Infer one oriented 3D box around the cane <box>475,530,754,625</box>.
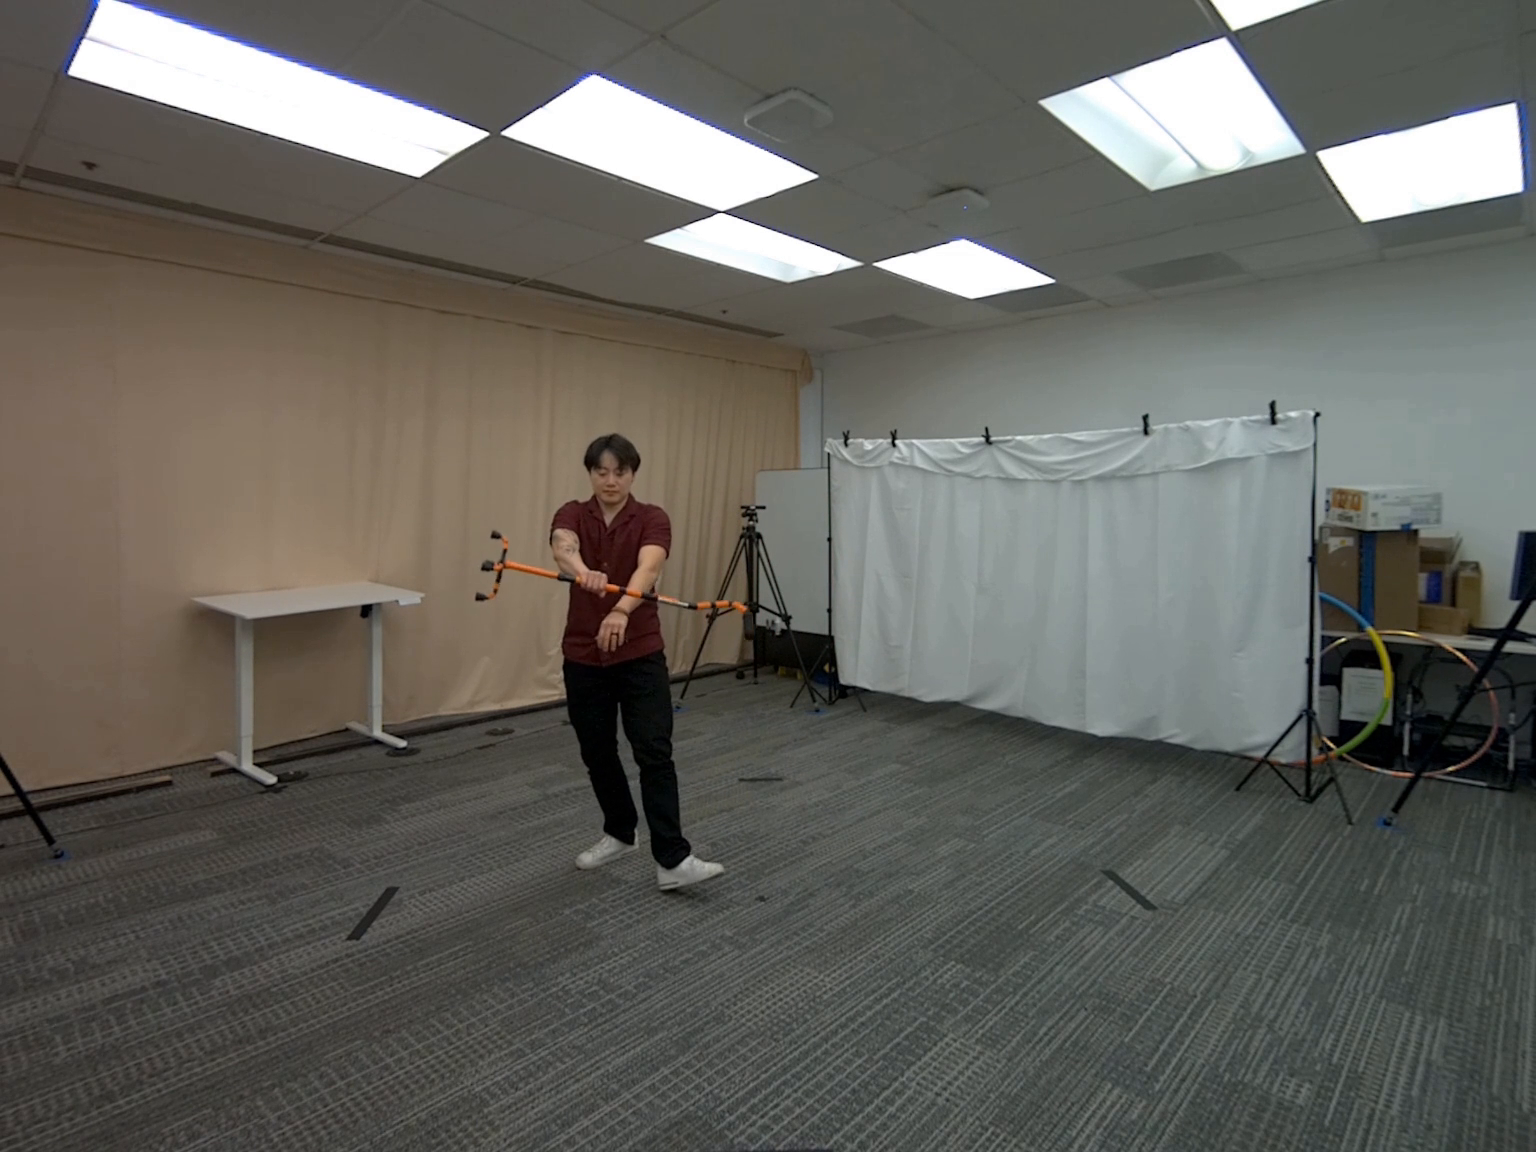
[{"bbox_3d":[-0.472,0.064,2.767,0.898,0.150,0.210,13,32,-9],"label":"cane"}]
